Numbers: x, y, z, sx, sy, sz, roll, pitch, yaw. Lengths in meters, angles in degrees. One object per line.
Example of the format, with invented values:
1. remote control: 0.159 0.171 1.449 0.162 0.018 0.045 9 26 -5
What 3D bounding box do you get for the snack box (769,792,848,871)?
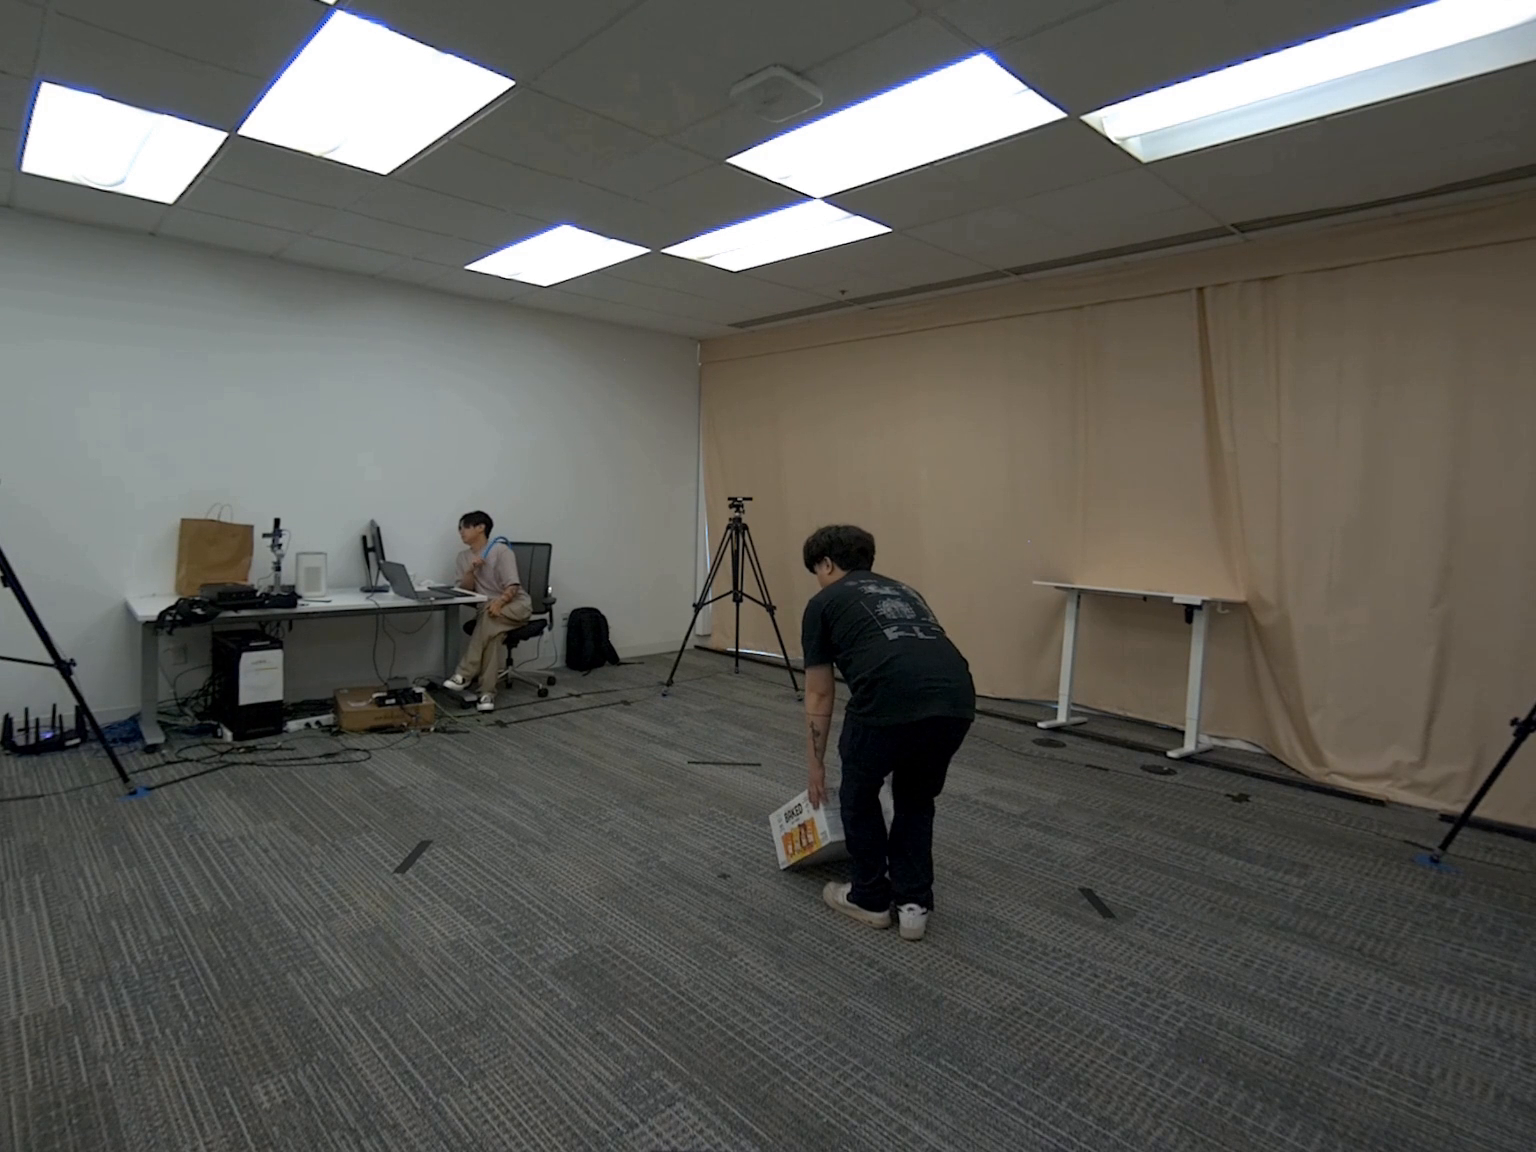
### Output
1. snack box: 0.254 0.918 3.124 0.334 0.210 0.403 0 -31 -26
